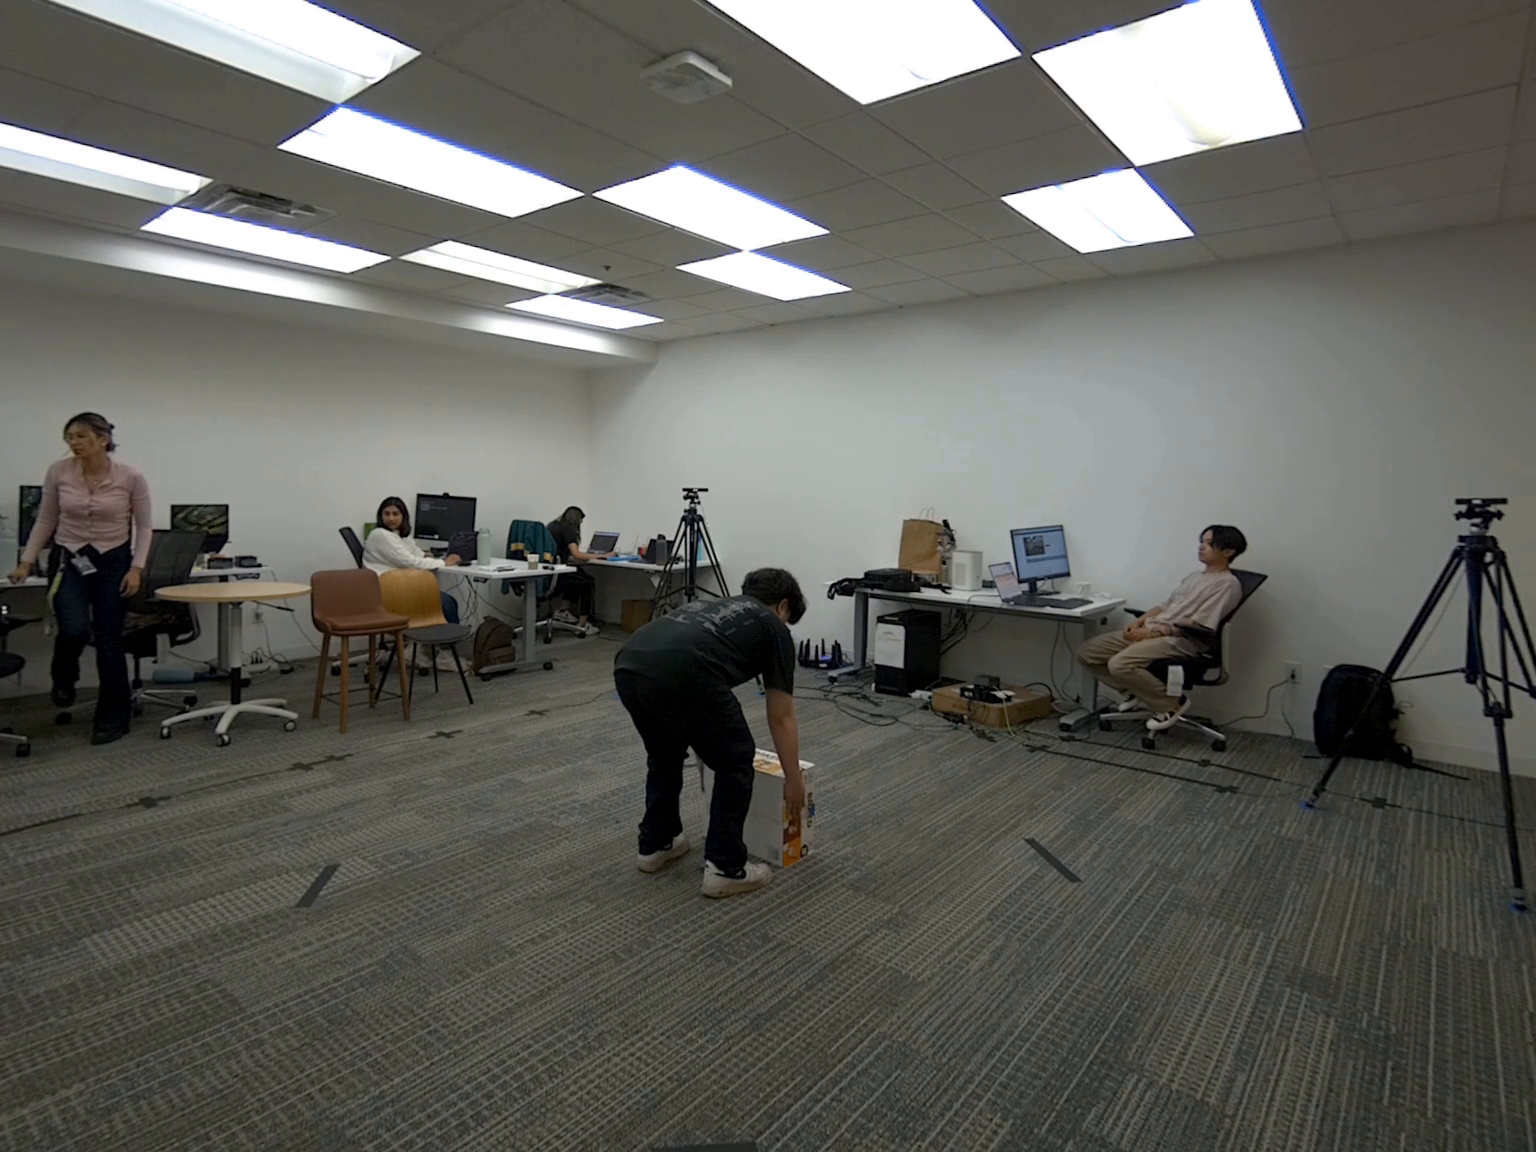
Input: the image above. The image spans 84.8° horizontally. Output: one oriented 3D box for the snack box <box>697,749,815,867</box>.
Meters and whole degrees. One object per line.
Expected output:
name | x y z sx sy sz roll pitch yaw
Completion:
snack box | -0.048 0.877 3.333 0.419 0.339 0.199 5 5 39
